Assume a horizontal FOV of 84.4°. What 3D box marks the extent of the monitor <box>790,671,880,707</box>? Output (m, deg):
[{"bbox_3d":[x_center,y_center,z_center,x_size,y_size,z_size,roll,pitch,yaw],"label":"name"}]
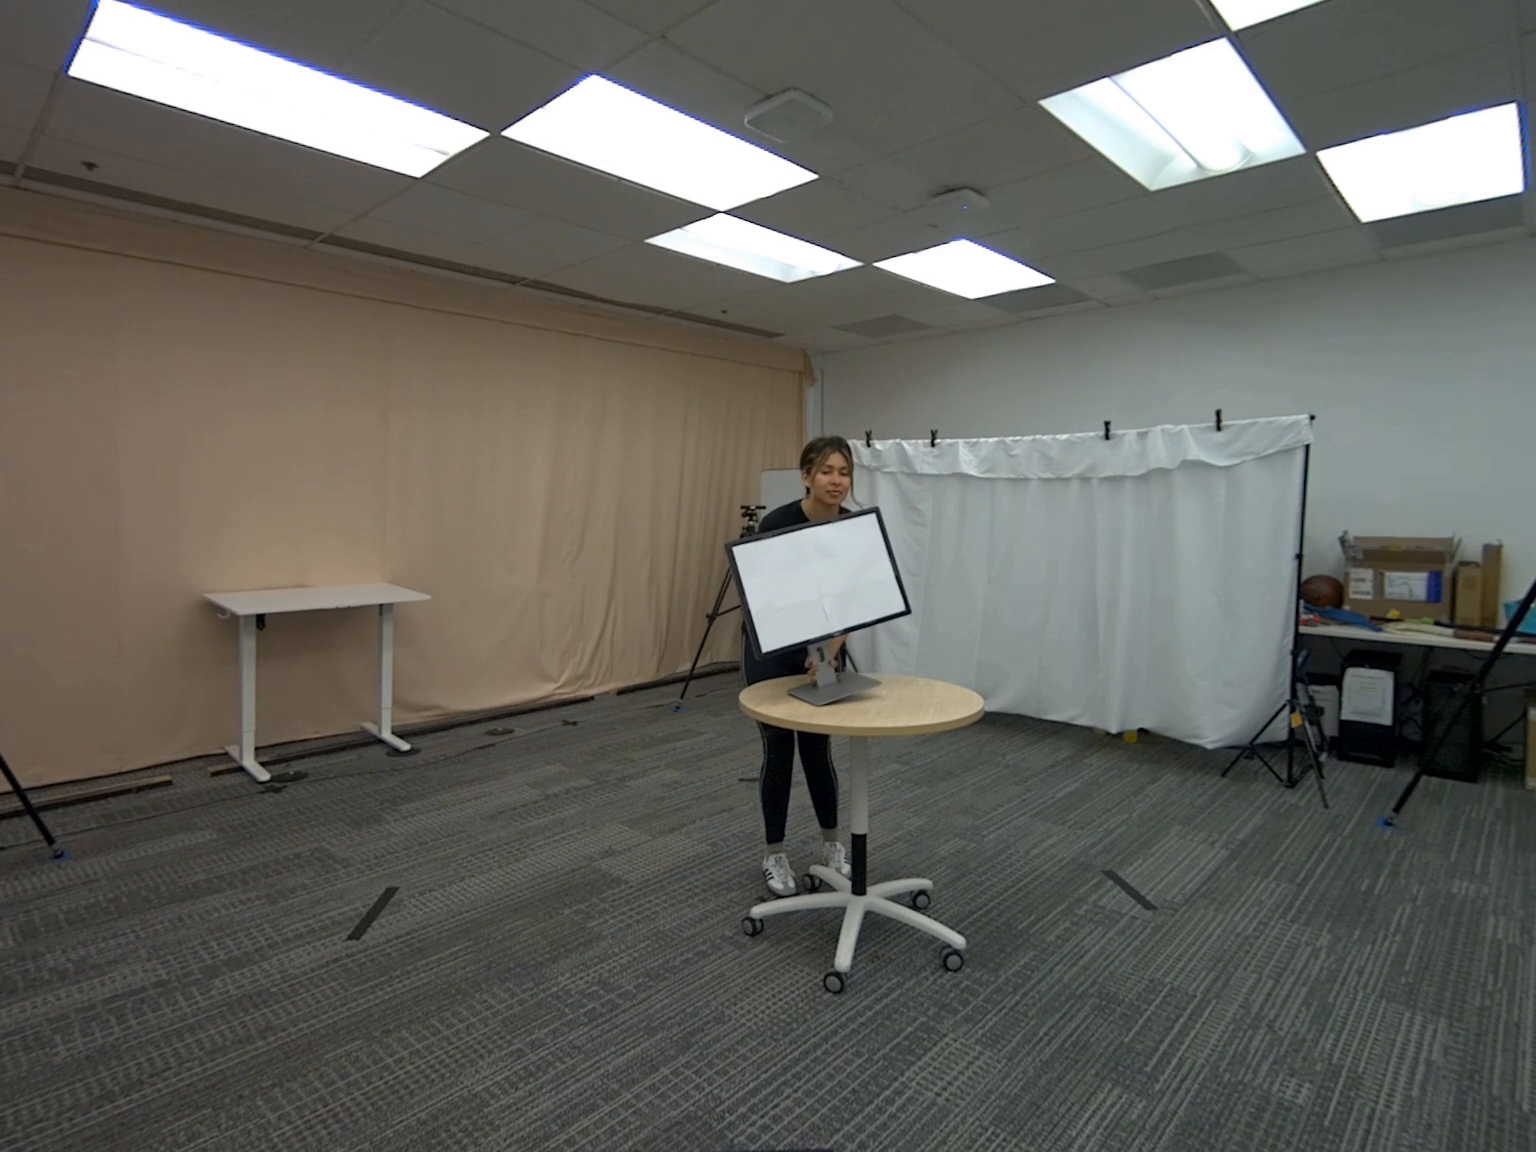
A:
[{"bbox_3d":[0.178,0.098,2.650,0.528,0.520,0.192,-15,7,-26],"label":"monitor"}]
